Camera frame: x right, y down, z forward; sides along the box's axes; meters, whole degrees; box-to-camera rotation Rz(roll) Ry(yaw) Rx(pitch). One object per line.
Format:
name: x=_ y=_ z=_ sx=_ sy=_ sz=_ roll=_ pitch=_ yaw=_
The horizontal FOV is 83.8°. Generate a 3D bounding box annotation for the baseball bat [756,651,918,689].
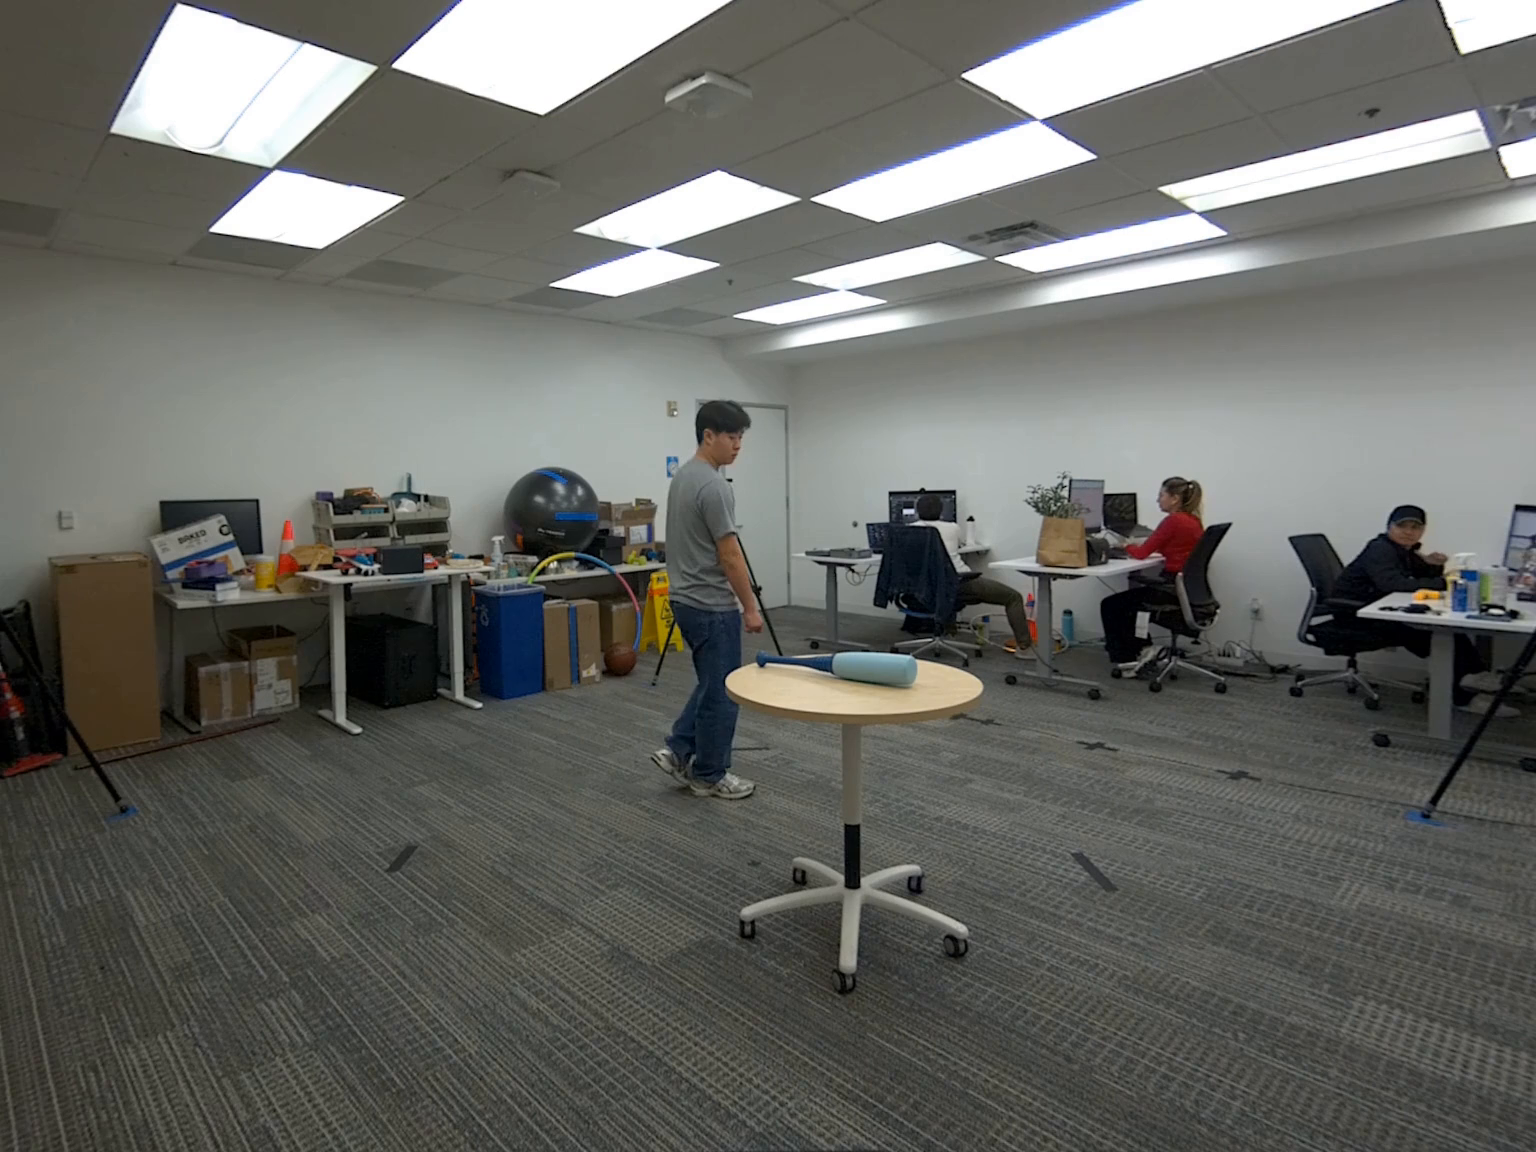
baseball bat: x=0.201 y=0.278 z=2.632 sx=0.558 sy=0.089 sz=0.087 roll=-1 pitch=4 yaw=35
